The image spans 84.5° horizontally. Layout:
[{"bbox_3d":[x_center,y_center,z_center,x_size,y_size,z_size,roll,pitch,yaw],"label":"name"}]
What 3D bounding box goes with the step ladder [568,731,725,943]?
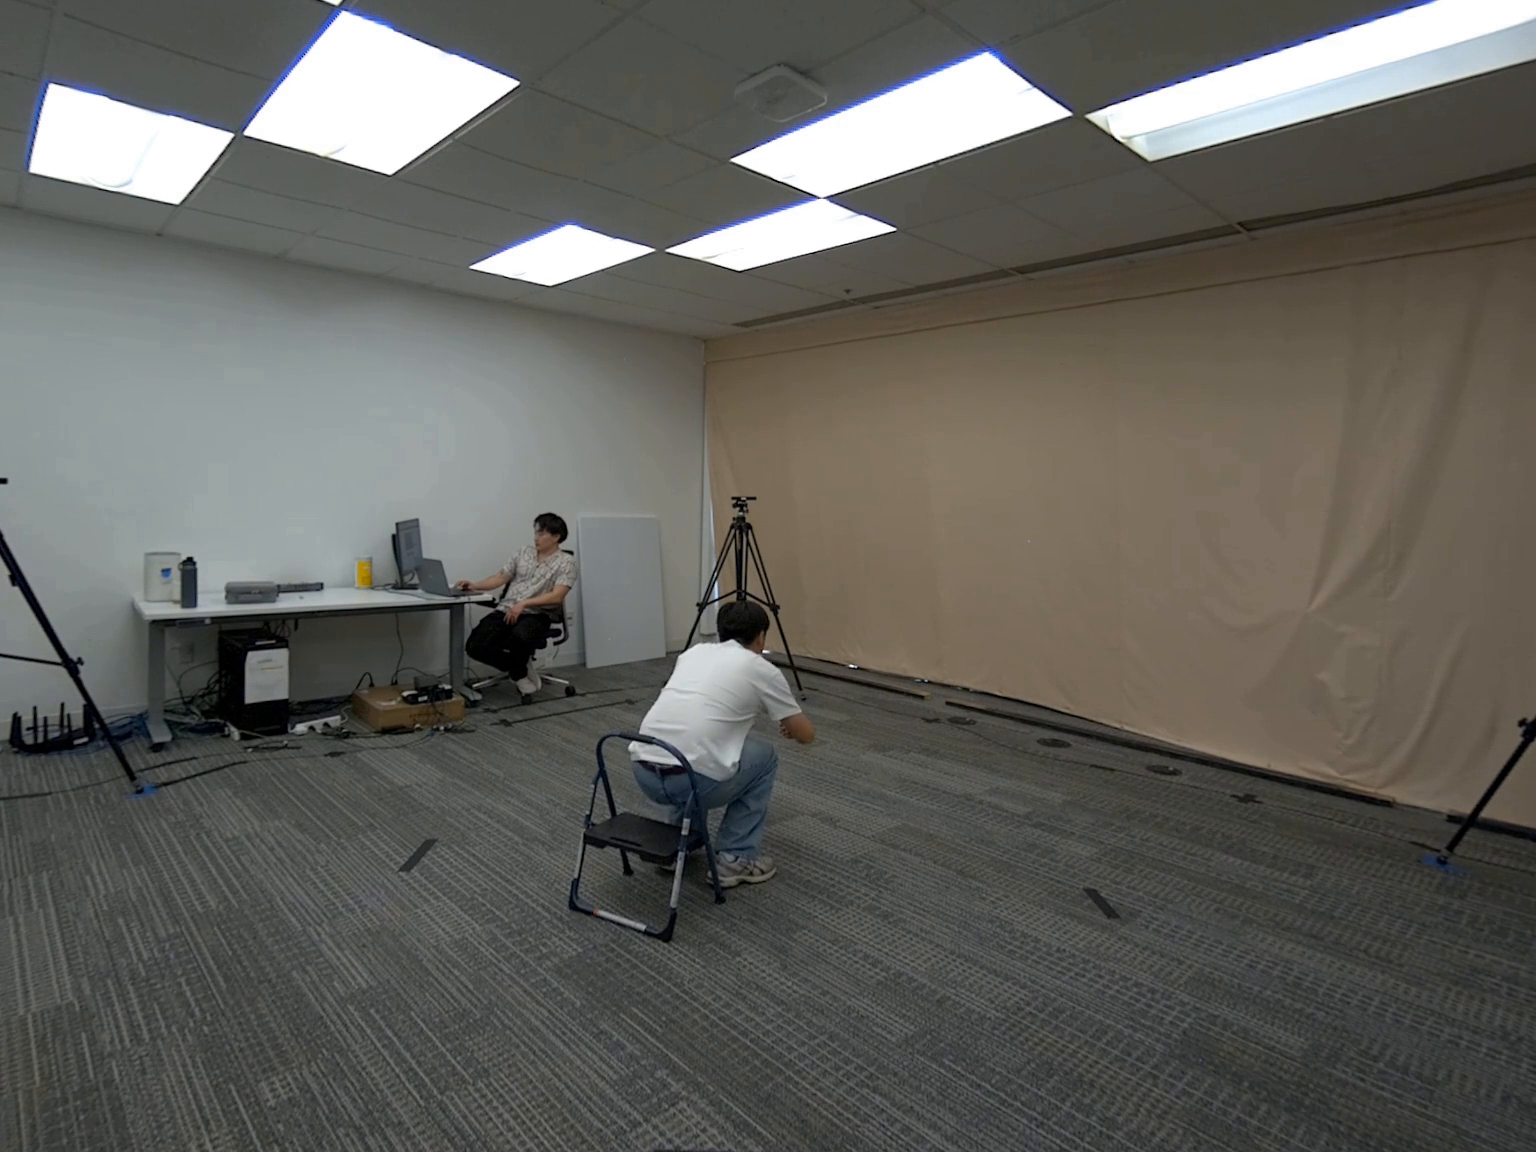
[{"bbox_3d":[-0.415,0.821,2.852,0.440,0.604,0.343,3,4,29],"label":"step ladder"}]
